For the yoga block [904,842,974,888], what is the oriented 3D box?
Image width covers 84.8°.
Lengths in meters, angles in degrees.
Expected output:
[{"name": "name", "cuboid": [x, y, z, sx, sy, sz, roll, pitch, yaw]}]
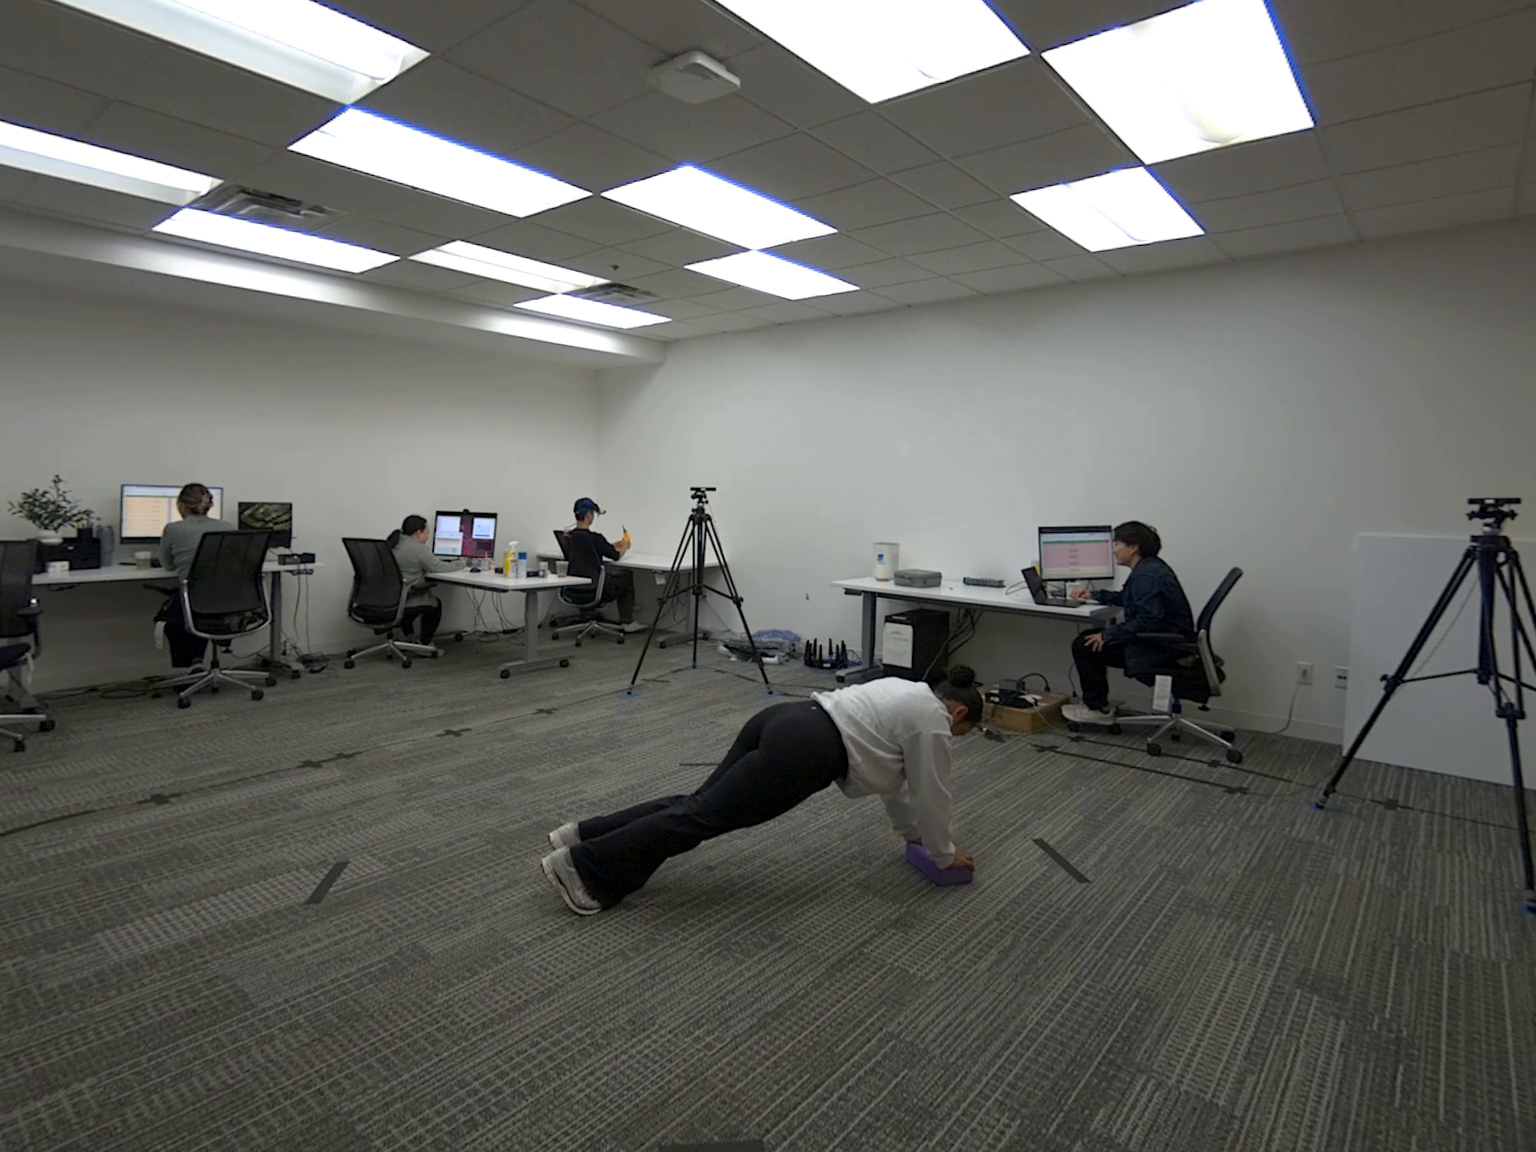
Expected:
[{"name": "yoga block", "cuboid": [0.625, 1.055, 3.137, 0.146, 0.076, 0.235, -1, 6, -20]}]
